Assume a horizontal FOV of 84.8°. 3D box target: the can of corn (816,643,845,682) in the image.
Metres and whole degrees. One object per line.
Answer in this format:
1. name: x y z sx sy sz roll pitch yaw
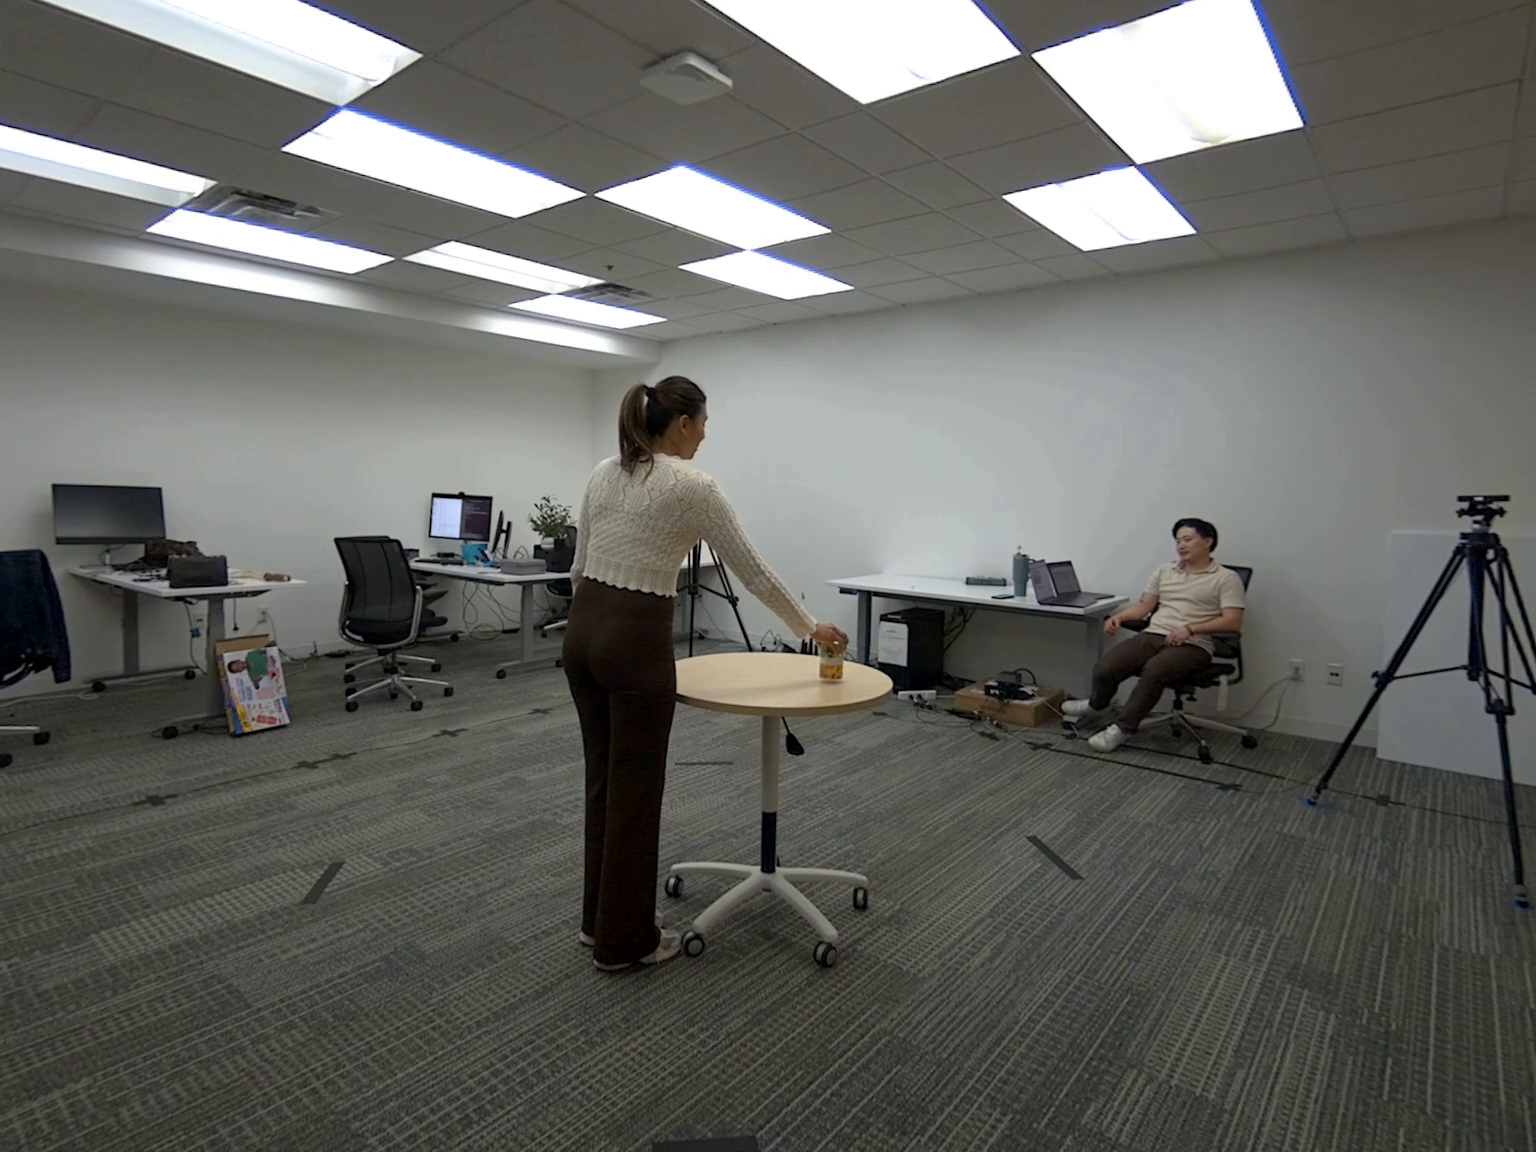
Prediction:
1. can of corn: 0.191 0.267 2.677 0.074 0.111 0.074 0 2 -2
